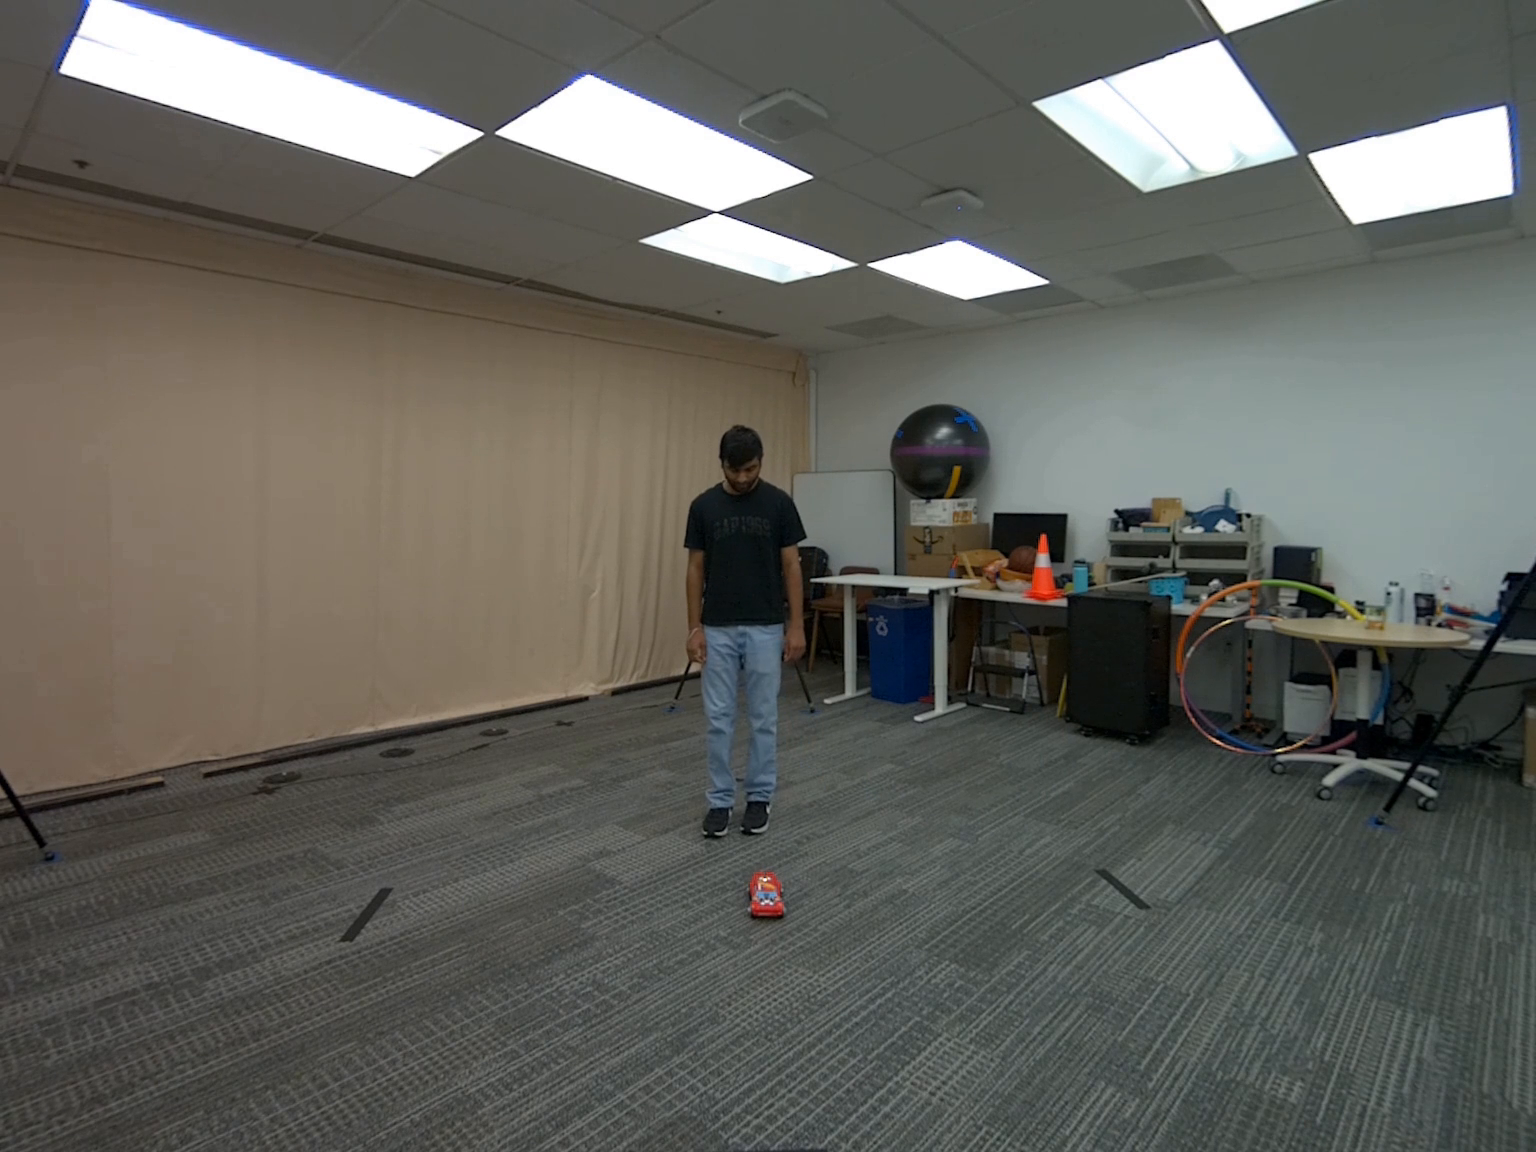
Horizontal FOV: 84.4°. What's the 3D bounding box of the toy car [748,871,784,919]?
[{"bbox_3d":[-0.014,1.109,2.946,0.130,0.082,0.257,0,16,-1],"label":"toy car"}]
